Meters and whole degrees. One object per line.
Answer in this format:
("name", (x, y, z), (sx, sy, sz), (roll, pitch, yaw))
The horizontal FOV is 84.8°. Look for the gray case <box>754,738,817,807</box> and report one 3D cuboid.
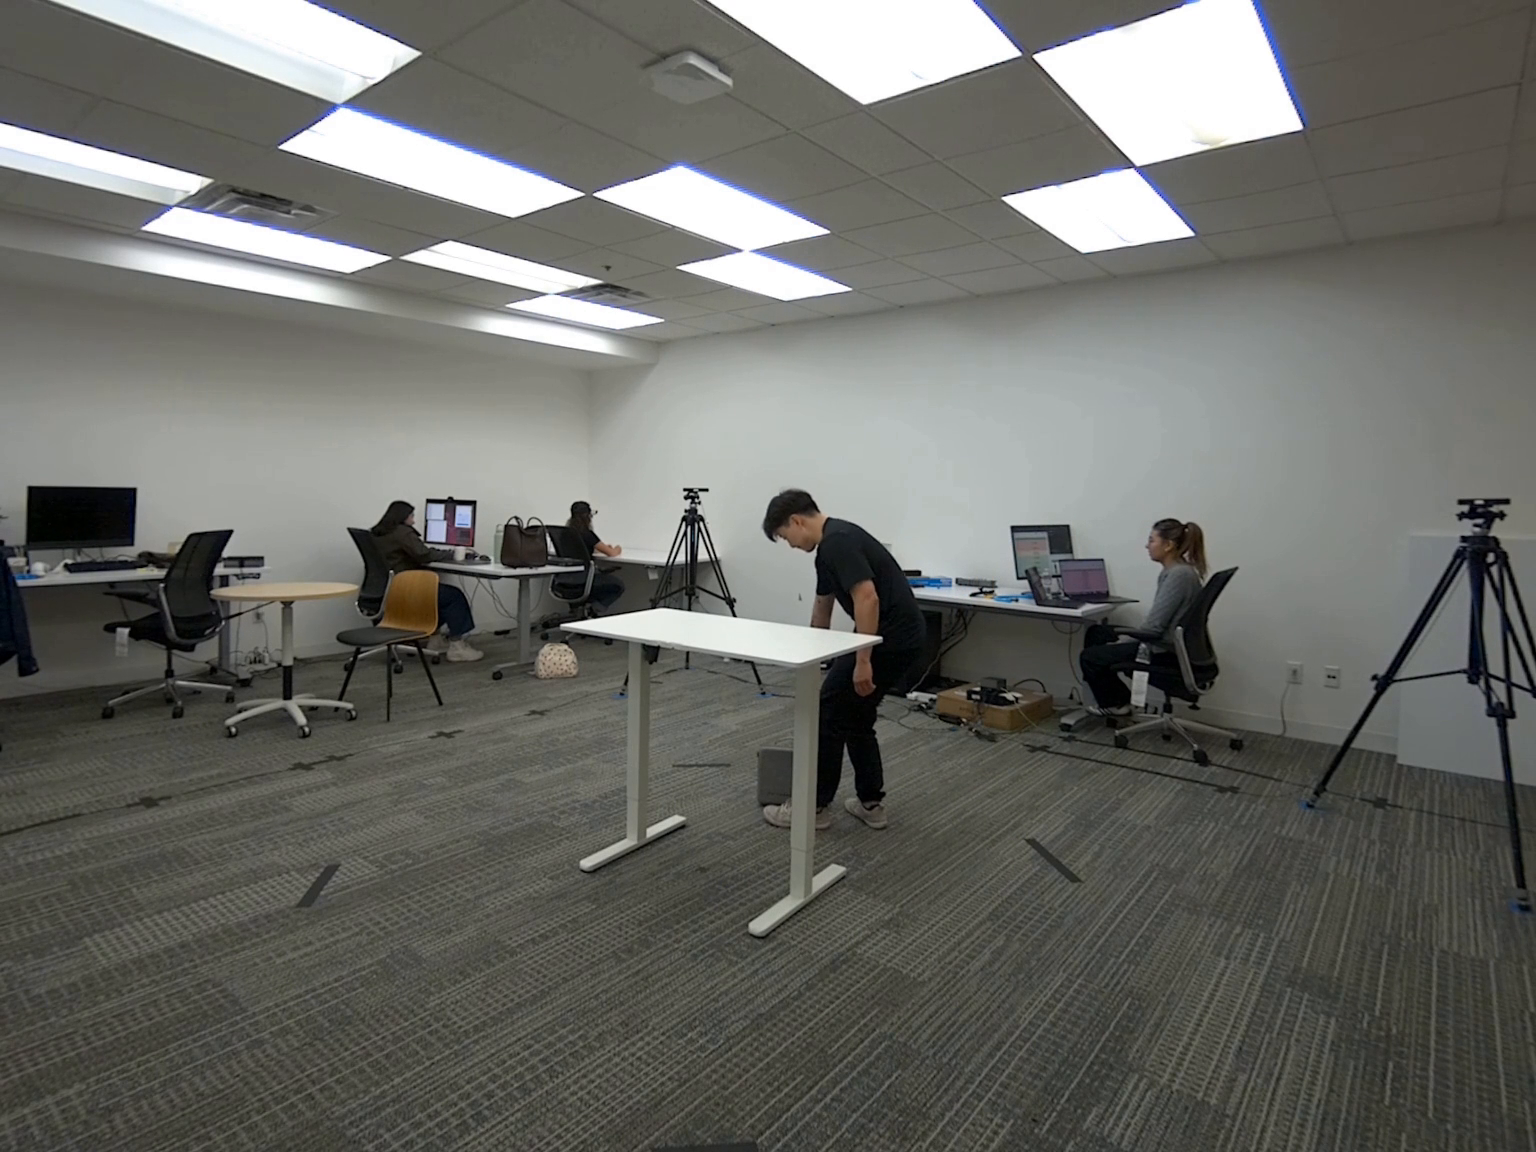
("gray case", (0.077, 0.875, 3.770), (0.260, 0.262, 0.102), (2, -6, 12))
